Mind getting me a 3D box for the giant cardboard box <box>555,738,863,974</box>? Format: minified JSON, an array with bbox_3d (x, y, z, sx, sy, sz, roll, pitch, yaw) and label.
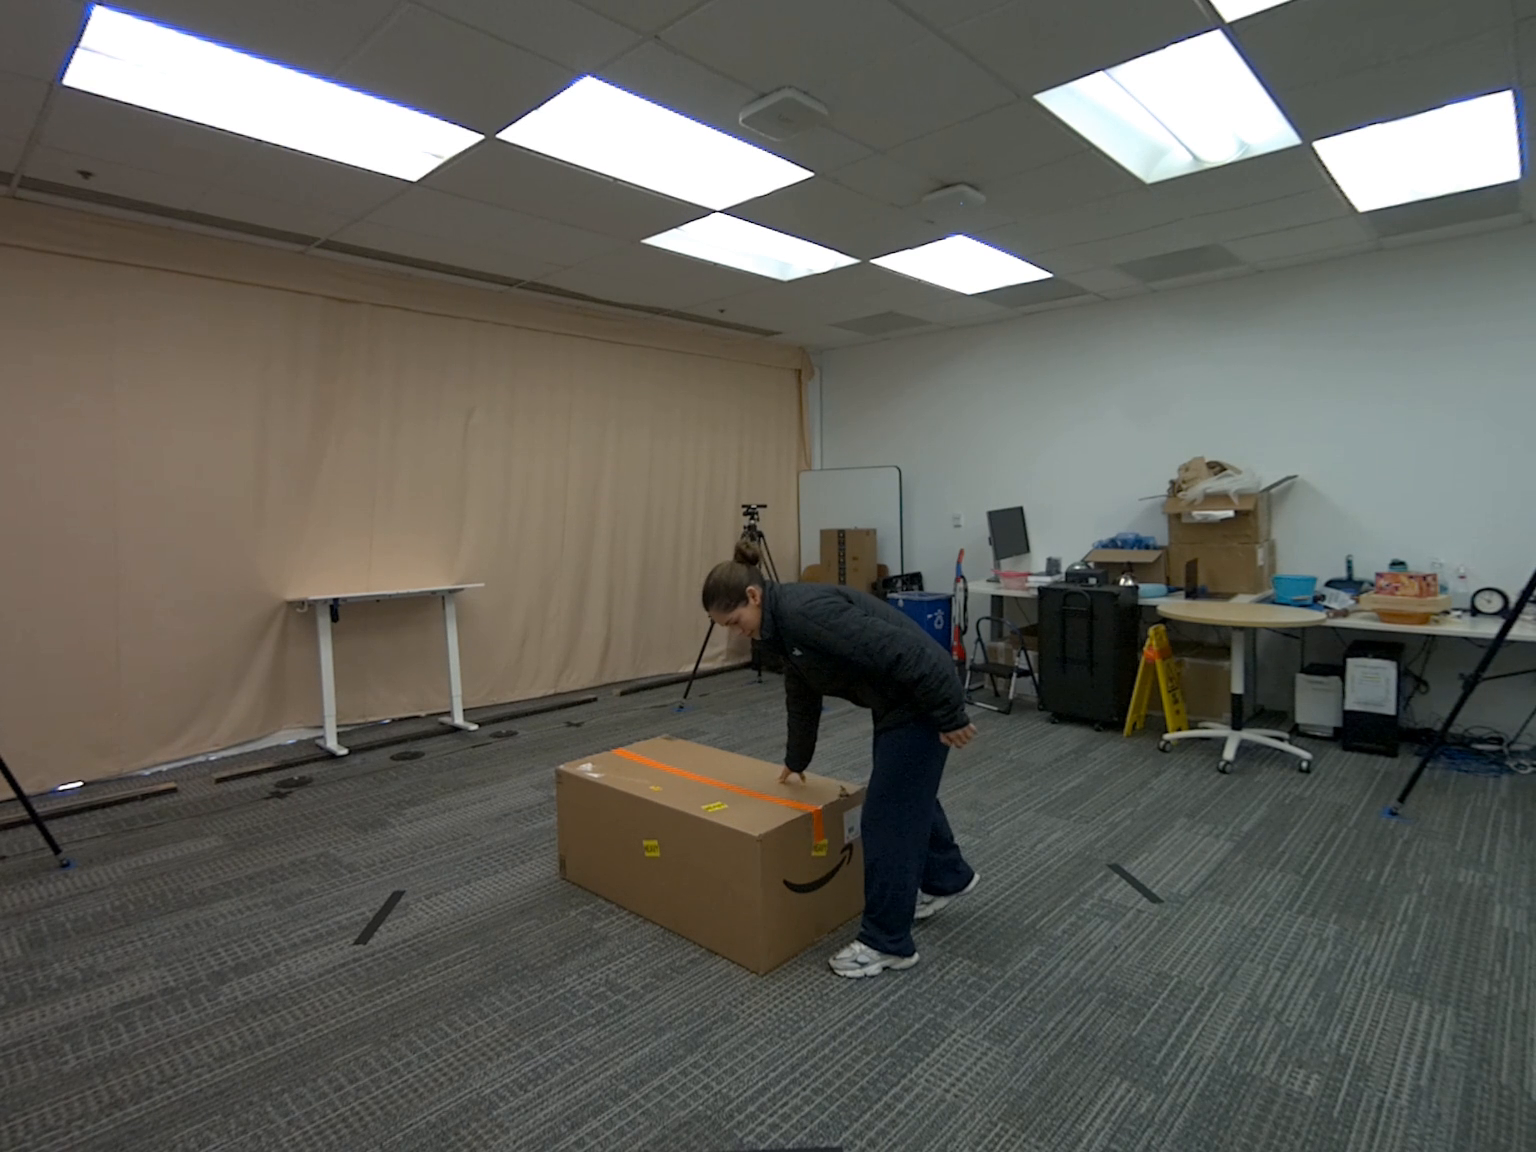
[{"bbox_3d":[-0.211,0.932,3.031,1.061,0.446,0.566,2,4,42],"label":"giant cardboard box"}]
